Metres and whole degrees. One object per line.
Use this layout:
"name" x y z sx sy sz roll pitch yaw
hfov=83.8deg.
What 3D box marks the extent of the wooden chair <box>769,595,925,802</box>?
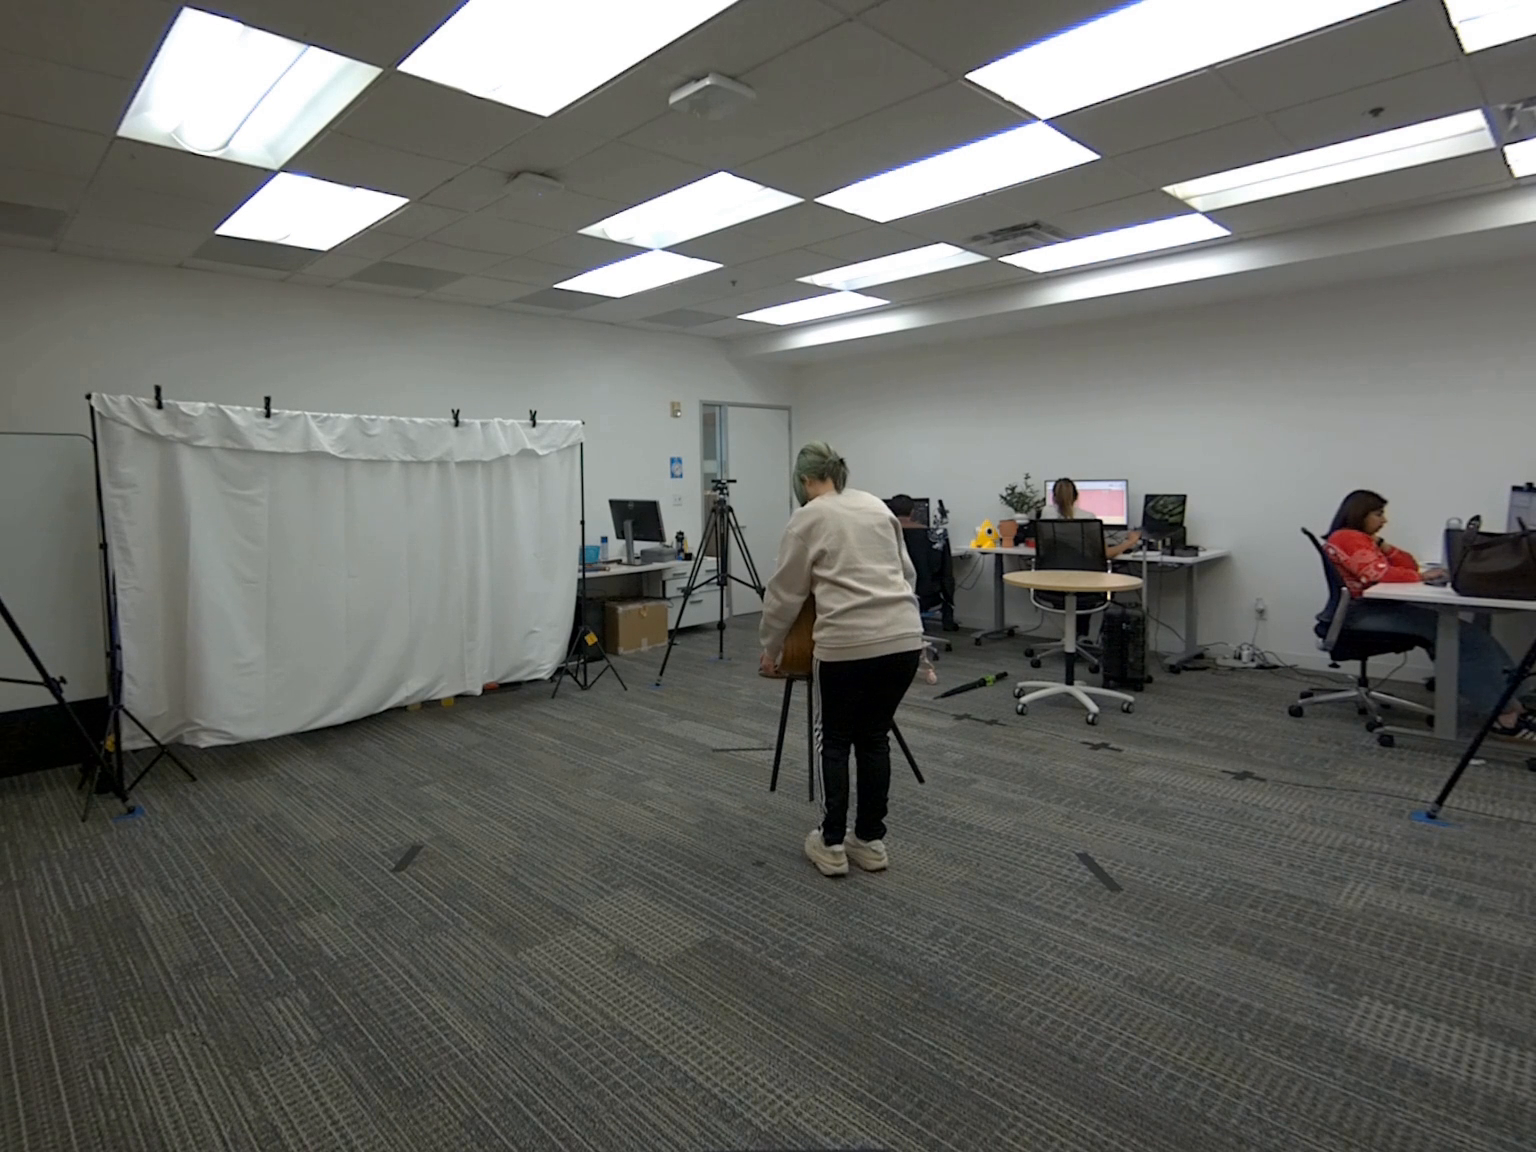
"wooden chair" 0.226 0.393 3.347 0.471 0.883 0.528 -5 -5 -18
